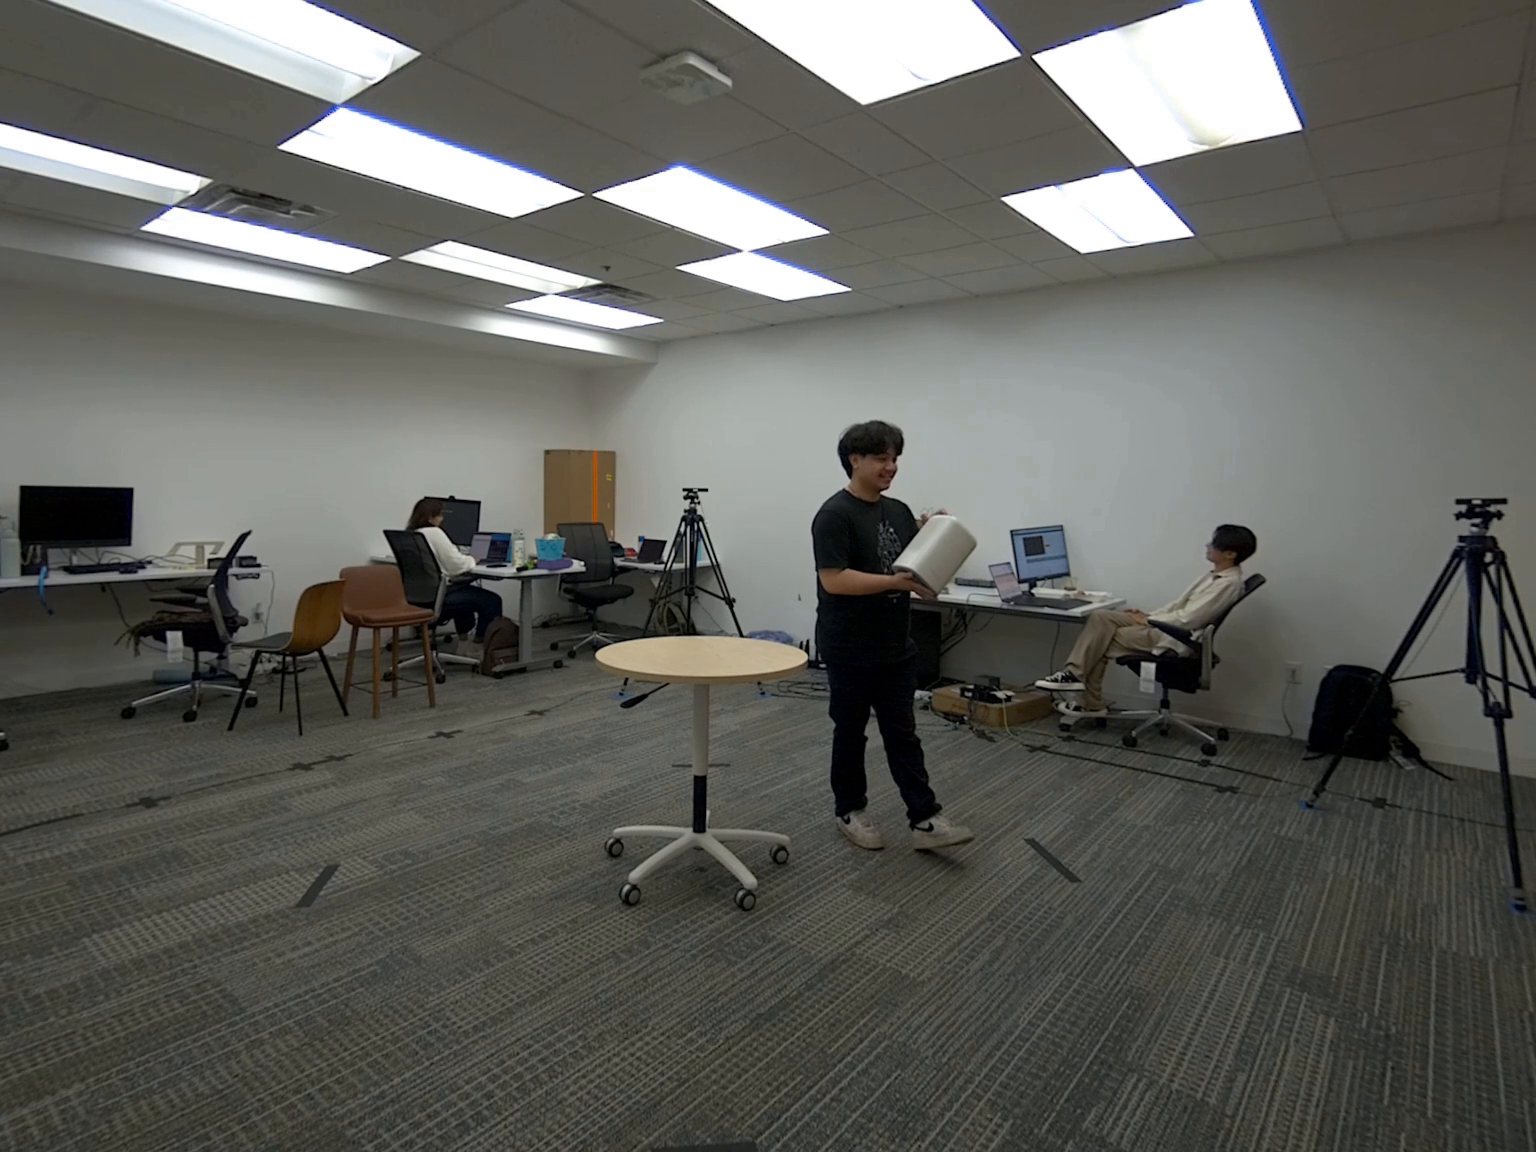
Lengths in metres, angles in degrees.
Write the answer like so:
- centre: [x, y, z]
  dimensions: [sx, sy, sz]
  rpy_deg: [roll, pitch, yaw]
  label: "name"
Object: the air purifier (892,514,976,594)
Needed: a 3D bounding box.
- centre: [0.604, -0.082, 3.093]
  dimensions: [0.168, 0.265, 0.175]
  rpy_deg: [42, -12, -14]
  label: "air purifier"
